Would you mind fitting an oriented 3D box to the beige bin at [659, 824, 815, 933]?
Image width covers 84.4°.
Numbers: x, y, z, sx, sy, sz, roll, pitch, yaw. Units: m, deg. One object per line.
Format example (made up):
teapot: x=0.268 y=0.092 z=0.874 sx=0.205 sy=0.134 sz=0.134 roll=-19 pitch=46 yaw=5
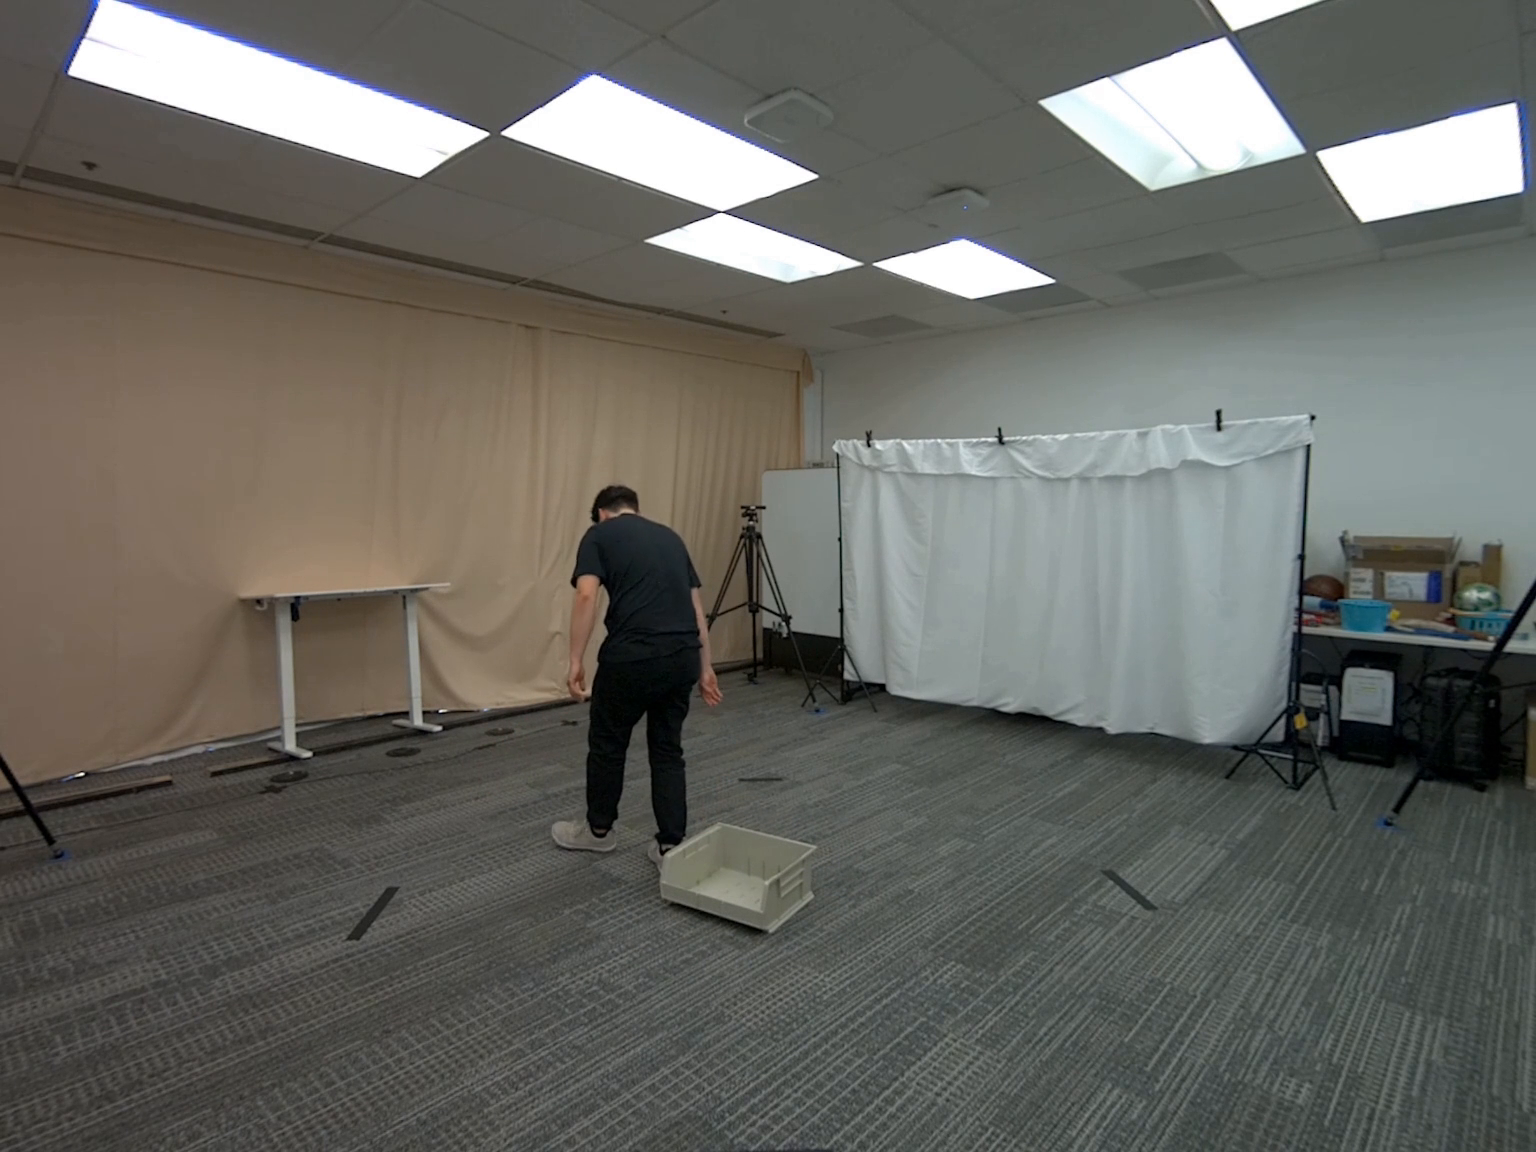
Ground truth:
beige bin: x=-0.097 y=1.059 z=2.959 sx=0.435 sy=0.188 sz=0.367 roll=2 pitch=4 yaw=32
